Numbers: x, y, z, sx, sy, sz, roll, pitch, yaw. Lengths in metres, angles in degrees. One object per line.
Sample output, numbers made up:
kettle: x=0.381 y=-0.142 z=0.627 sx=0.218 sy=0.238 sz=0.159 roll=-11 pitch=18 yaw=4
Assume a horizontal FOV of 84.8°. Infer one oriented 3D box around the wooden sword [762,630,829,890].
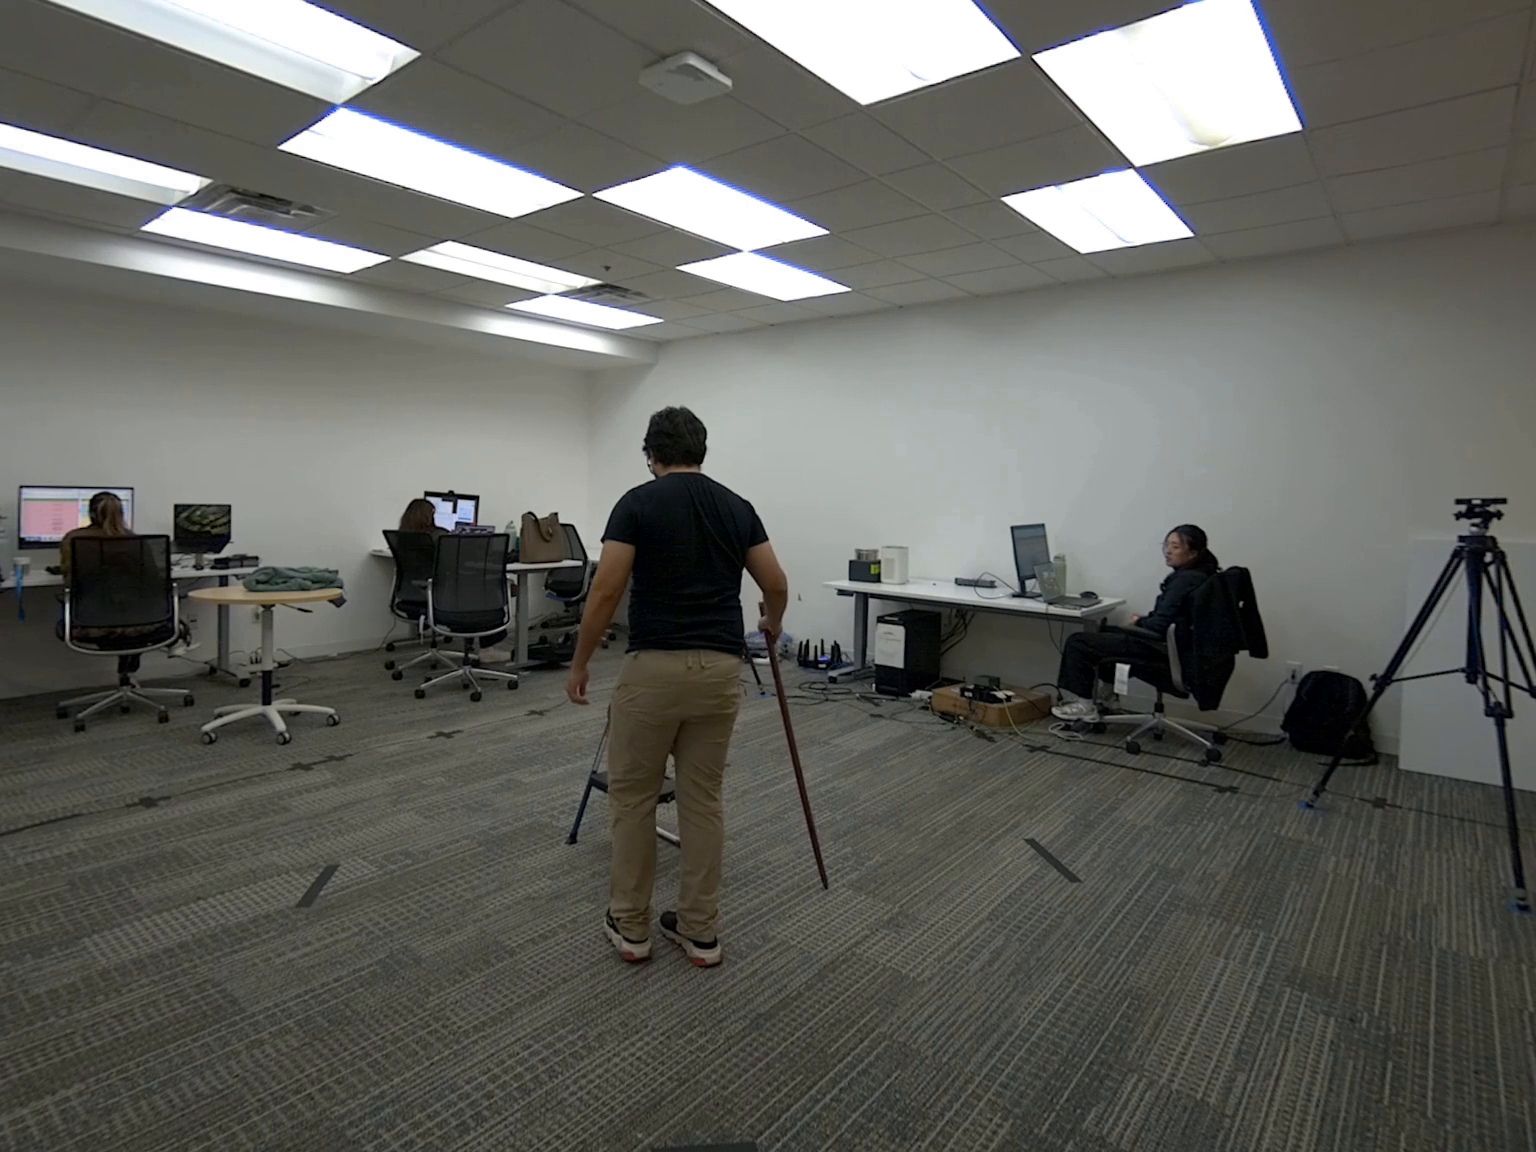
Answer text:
wooden sword: x=0.087 y=0.615 z=2.956 sx=0.052 sy=1.022 sz=0.024 roll=-13 pitch=2 yaw=9
